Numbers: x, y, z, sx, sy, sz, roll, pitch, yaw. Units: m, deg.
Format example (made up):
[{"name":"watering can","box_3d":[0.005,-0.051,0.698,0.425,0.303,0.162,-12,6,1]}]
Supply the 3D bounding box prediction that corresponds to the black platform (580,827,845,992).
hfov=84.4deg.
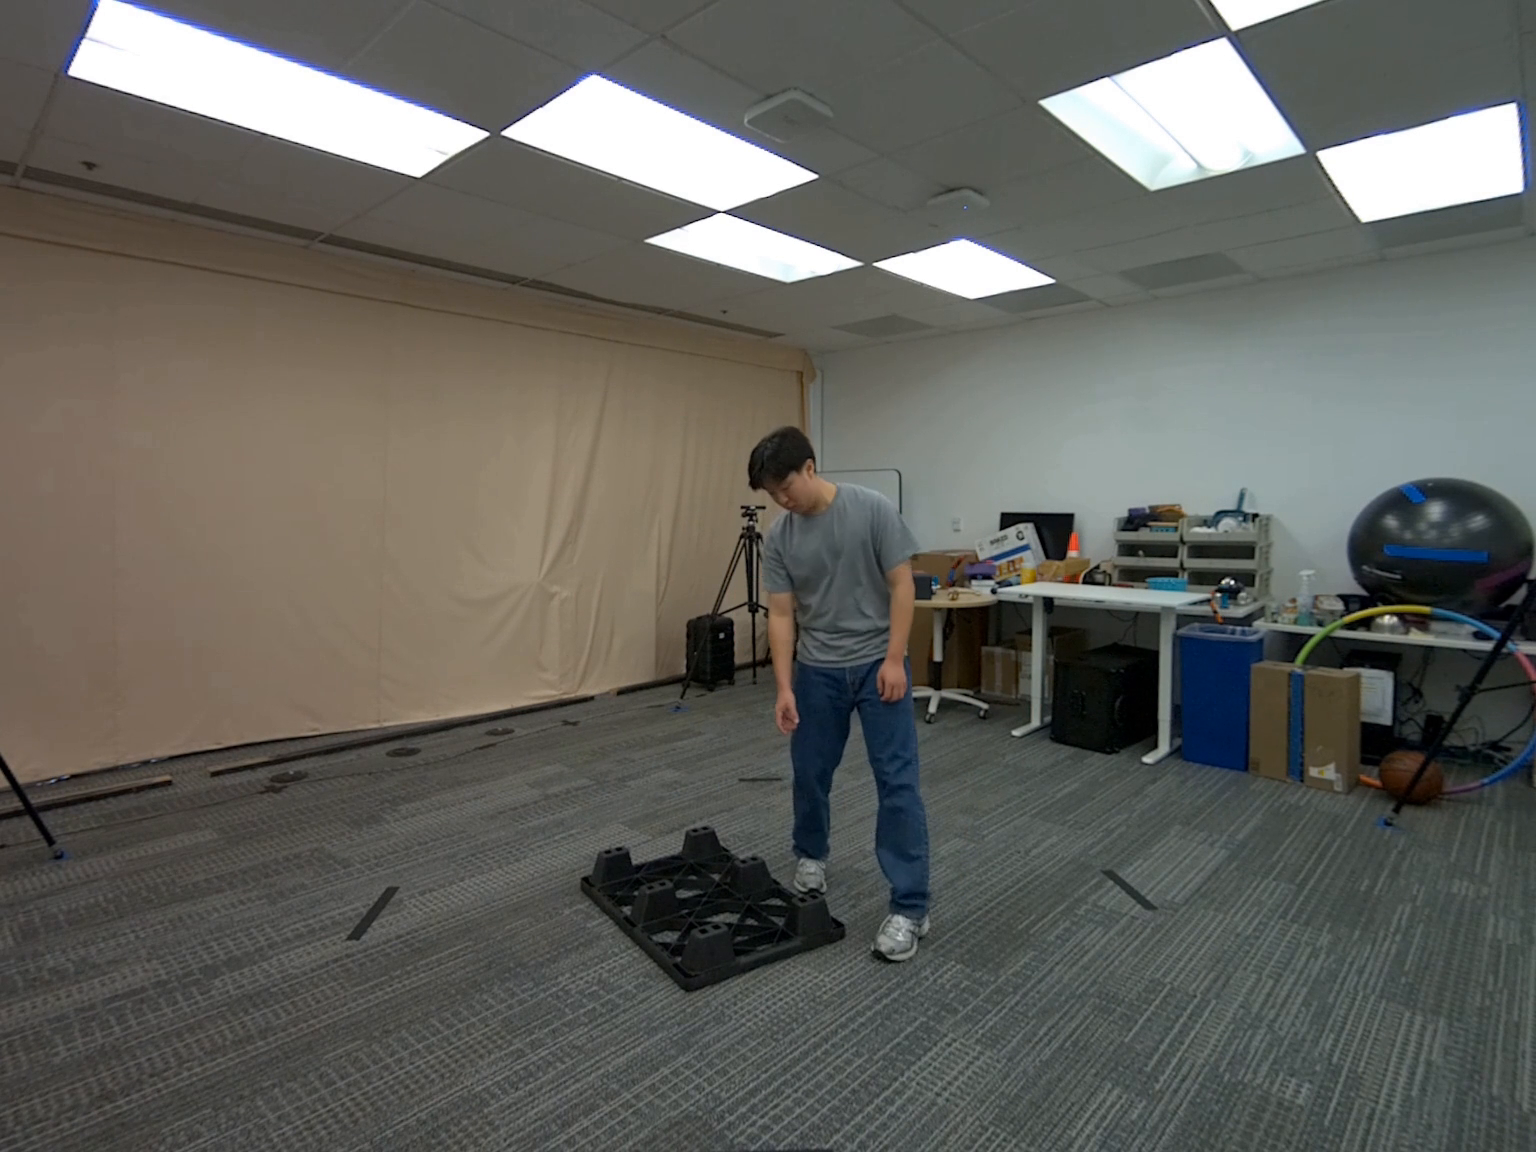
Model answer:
[{"name":"black platform","box_3d":[-0.211,1.087,2.885,0.588,0.143,0.831,-4,6,-34]}]
